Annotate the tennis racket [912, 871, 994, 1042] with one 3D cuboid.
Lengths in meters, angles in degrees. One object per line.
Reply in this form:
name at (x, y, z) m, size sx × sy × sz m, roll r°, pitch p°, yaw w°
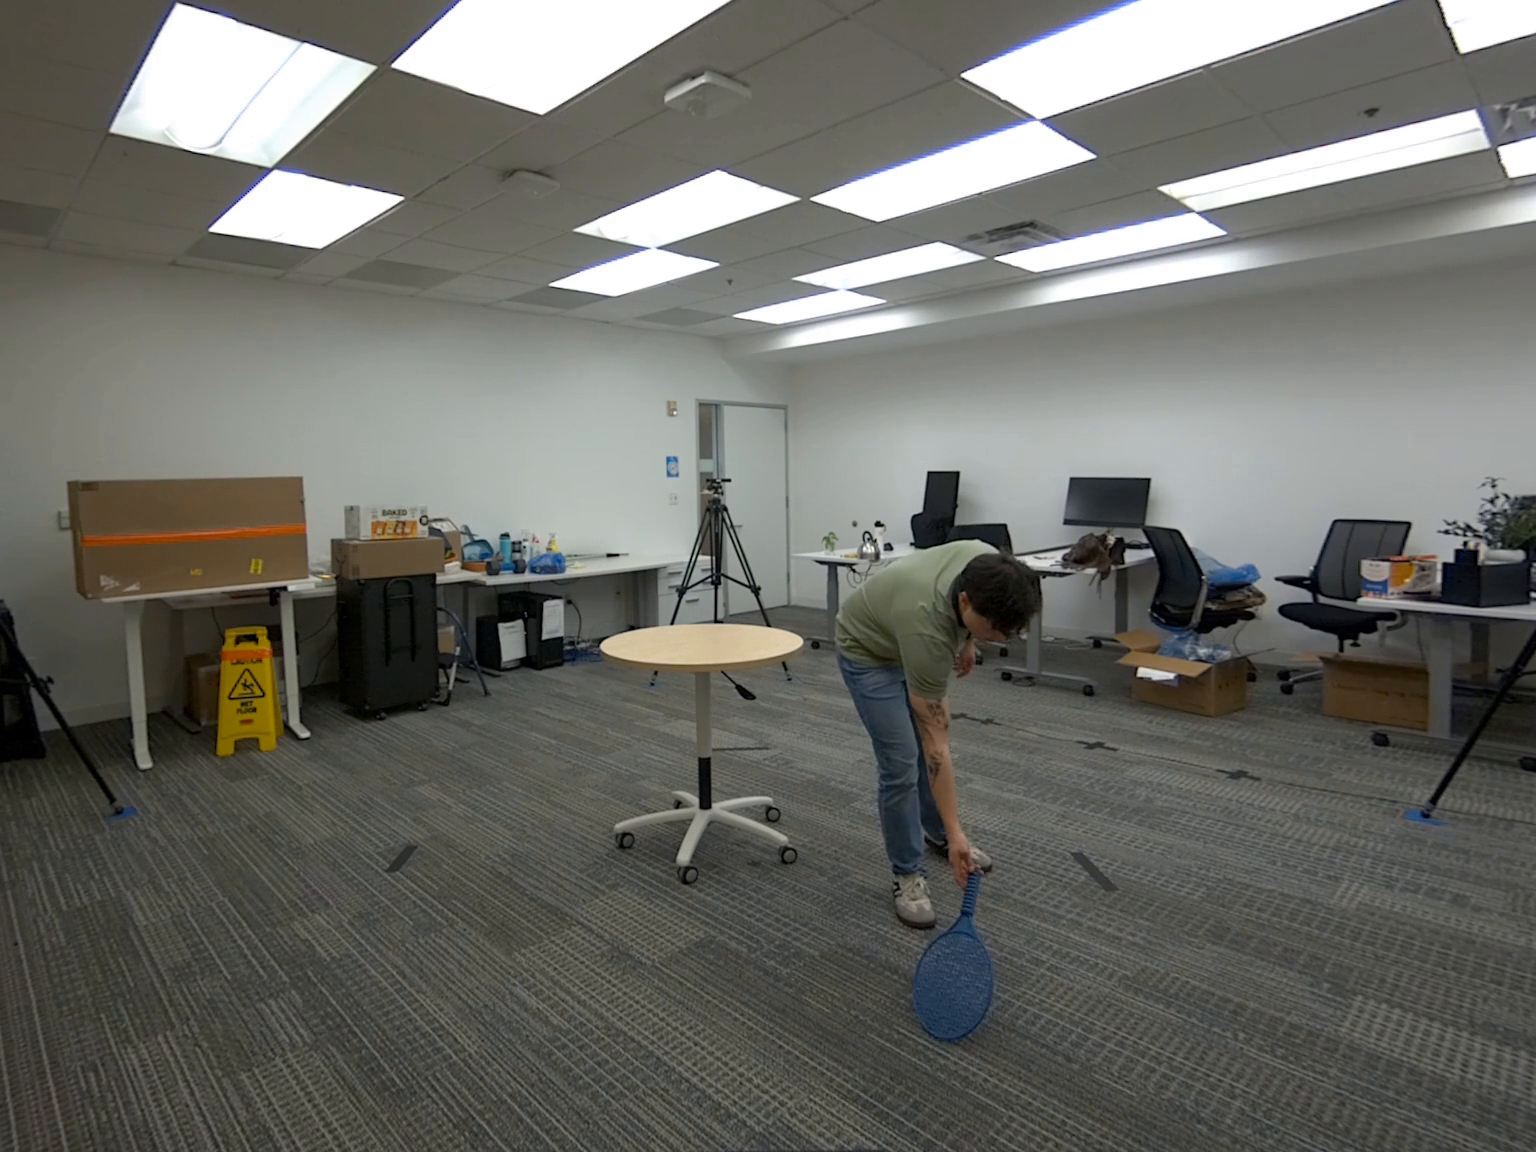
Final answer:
tennis racket at (0.514, 0.991, 2.228) m, size 0.219 × 0.438 × 0.030 m, roll -8°, pitch -45°, yaw 37°
